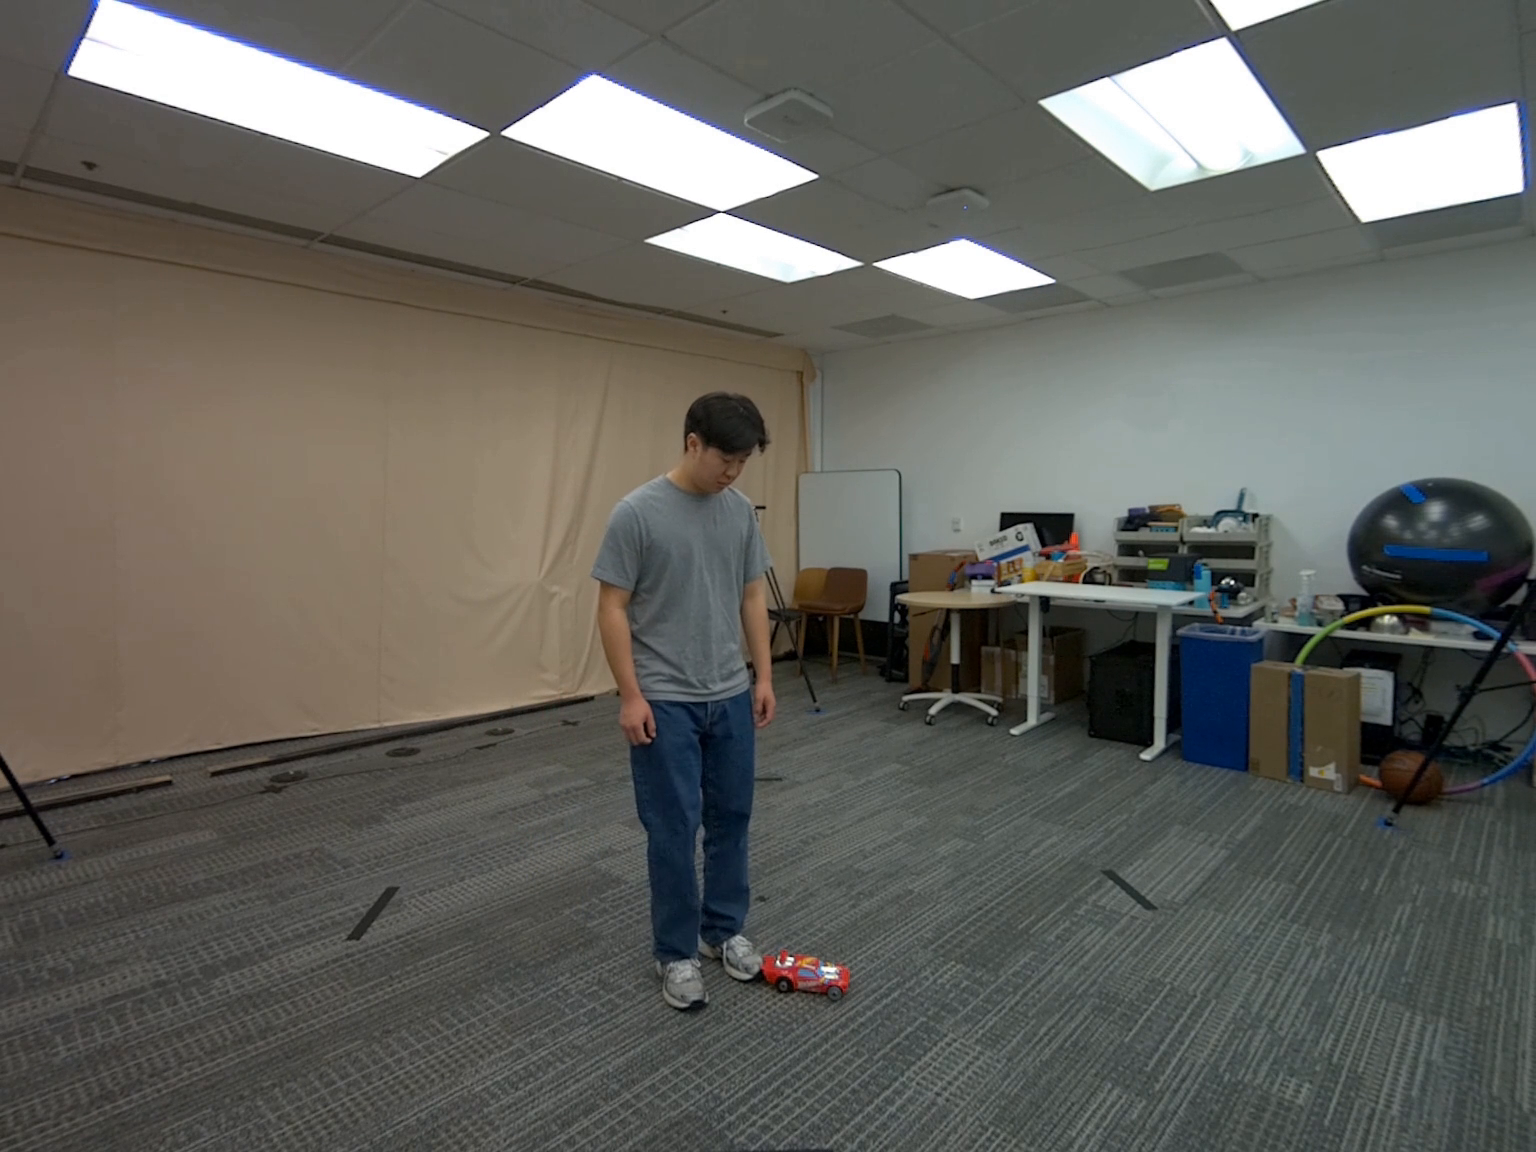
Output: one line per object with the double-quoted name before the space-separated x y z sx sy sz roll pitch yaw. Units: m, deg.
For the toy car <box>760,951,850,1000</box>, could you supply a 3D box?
"toy car" 0.111 1.159 2.428 0.259 0.083 0.128 13 7 14
